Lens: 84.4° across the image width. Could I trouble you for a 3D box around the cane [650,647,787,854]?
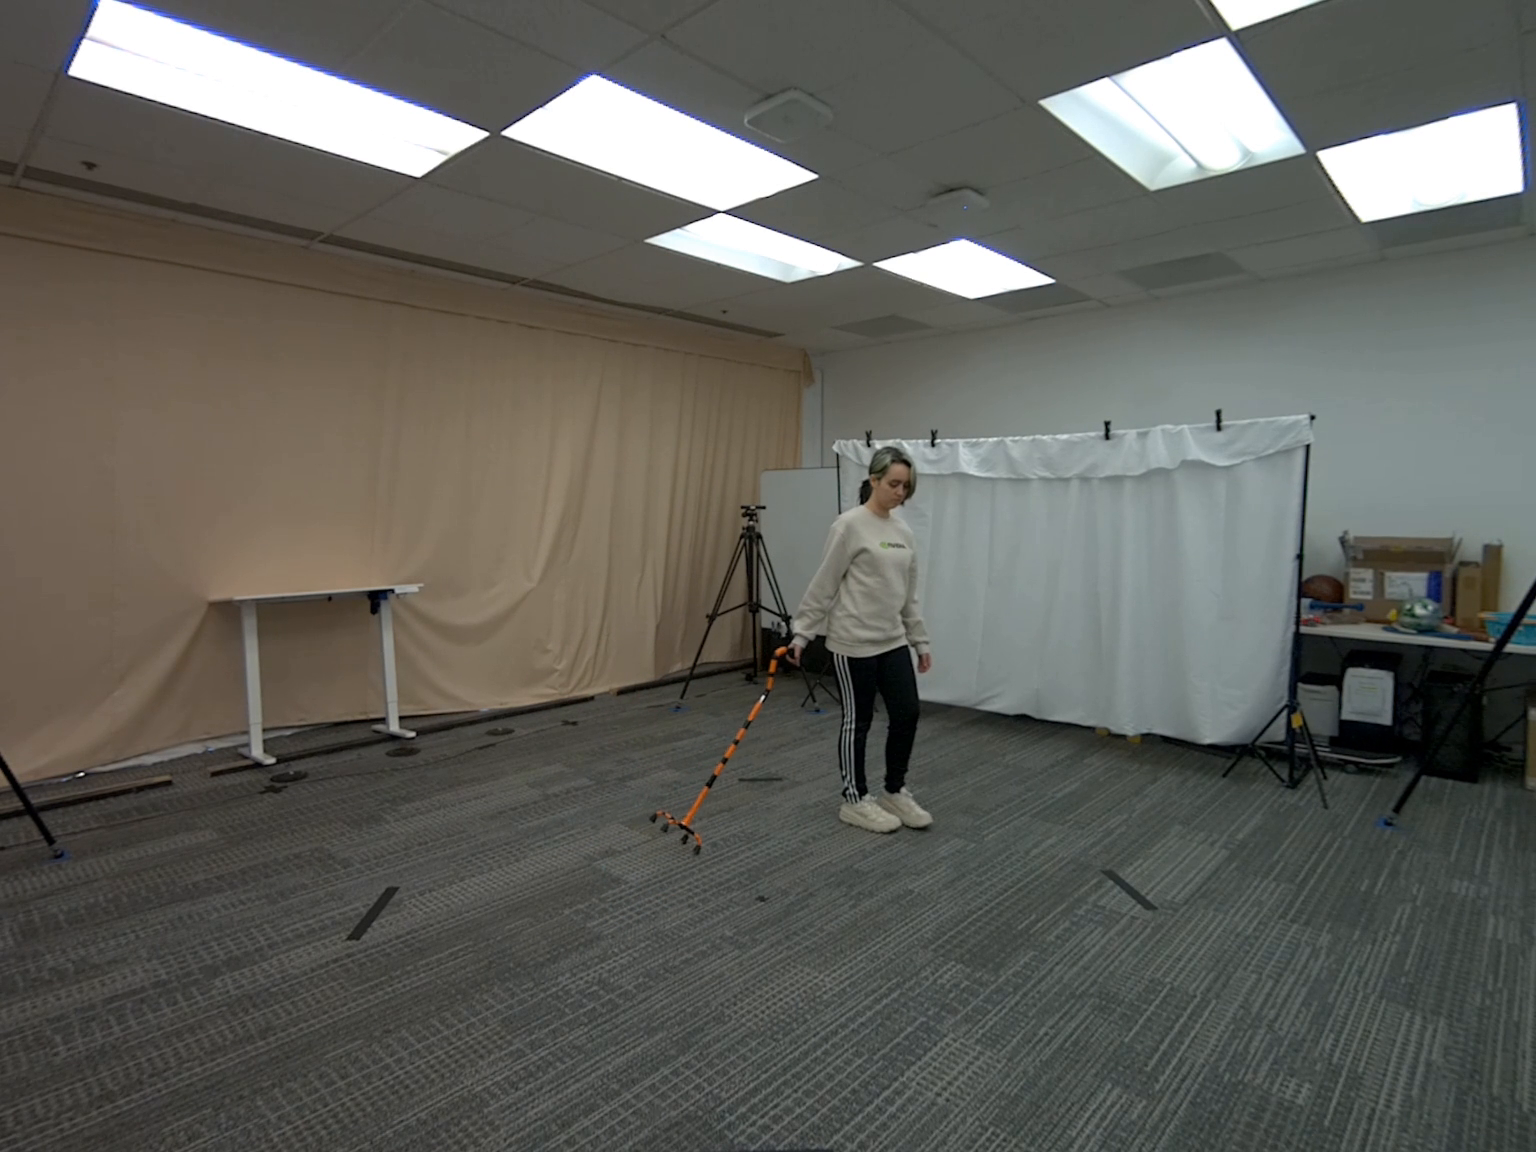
[{"bbox_3d":[-0.137,0.685,3.491,0.201,0.907,0.156,40,-15,-23],"label":"cane"}]
